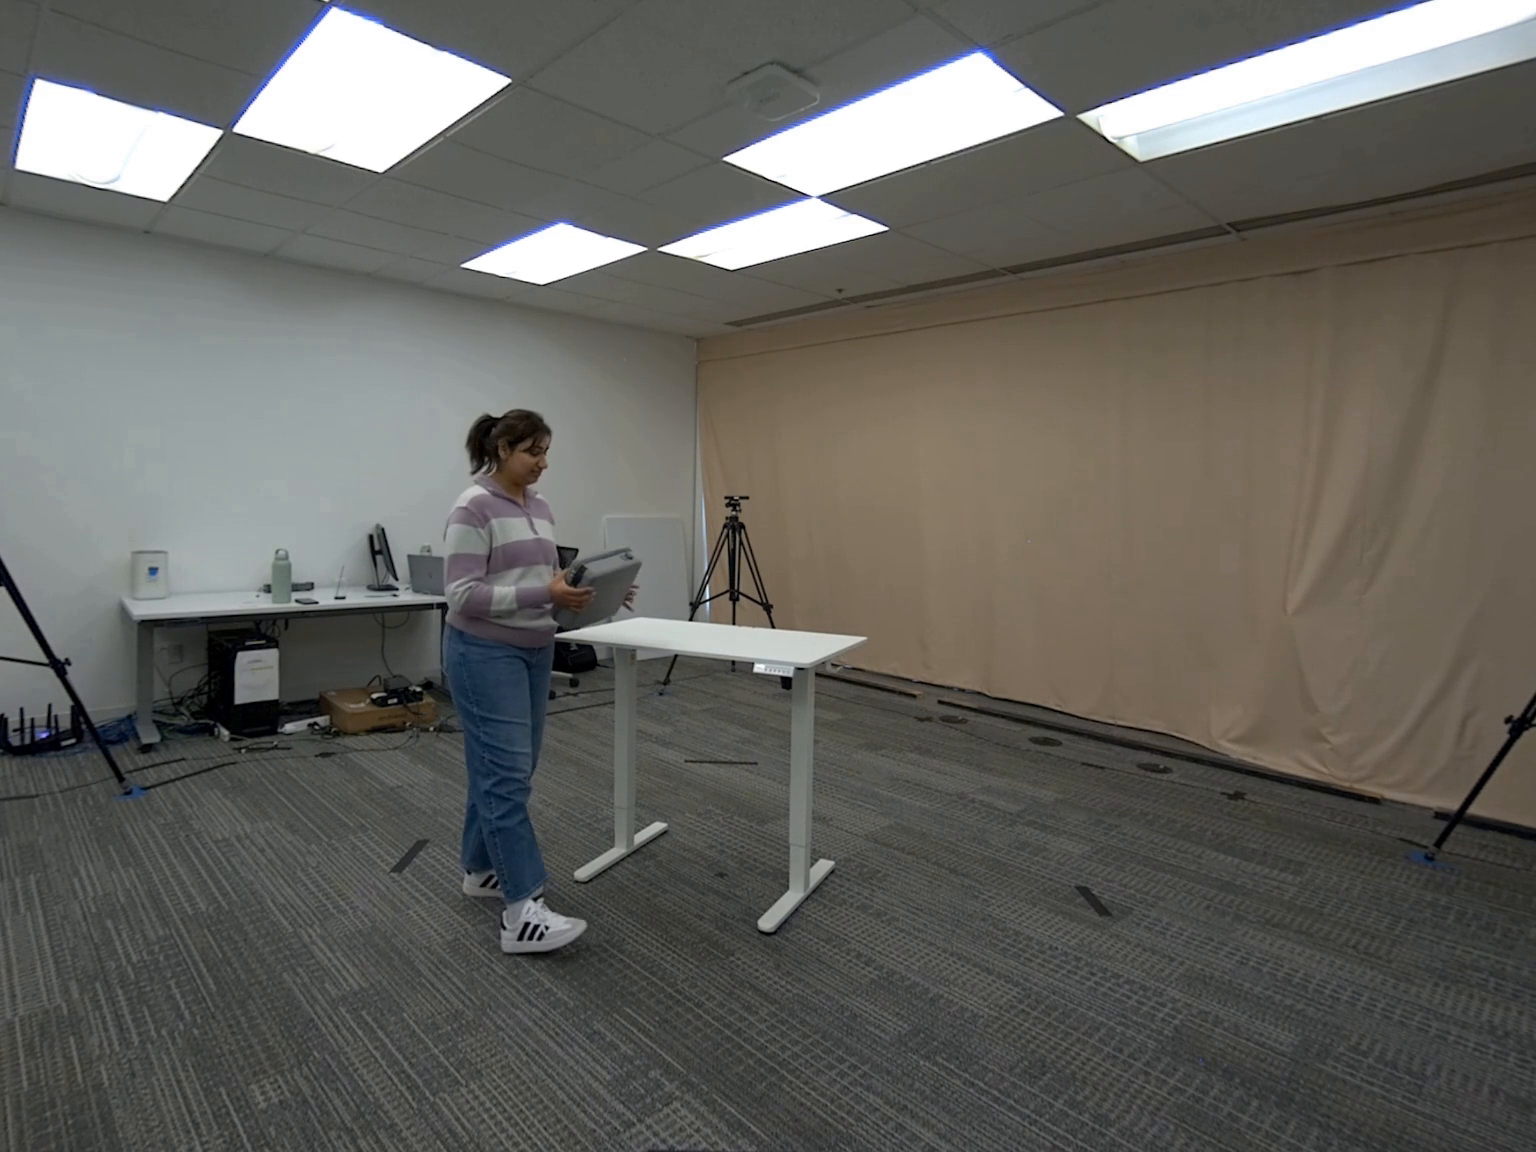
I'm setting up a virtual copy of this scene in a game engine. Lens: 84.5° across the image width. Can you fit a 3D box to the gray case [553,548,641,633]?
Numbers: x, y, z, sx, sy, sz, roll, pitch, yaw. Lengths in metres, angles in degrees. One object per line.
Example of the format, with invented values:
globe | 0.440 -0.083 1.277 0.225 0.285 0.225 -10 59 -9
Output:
gray case | -0.555 0.036 2.701 0.106 0.255 0.257 42 31 15
